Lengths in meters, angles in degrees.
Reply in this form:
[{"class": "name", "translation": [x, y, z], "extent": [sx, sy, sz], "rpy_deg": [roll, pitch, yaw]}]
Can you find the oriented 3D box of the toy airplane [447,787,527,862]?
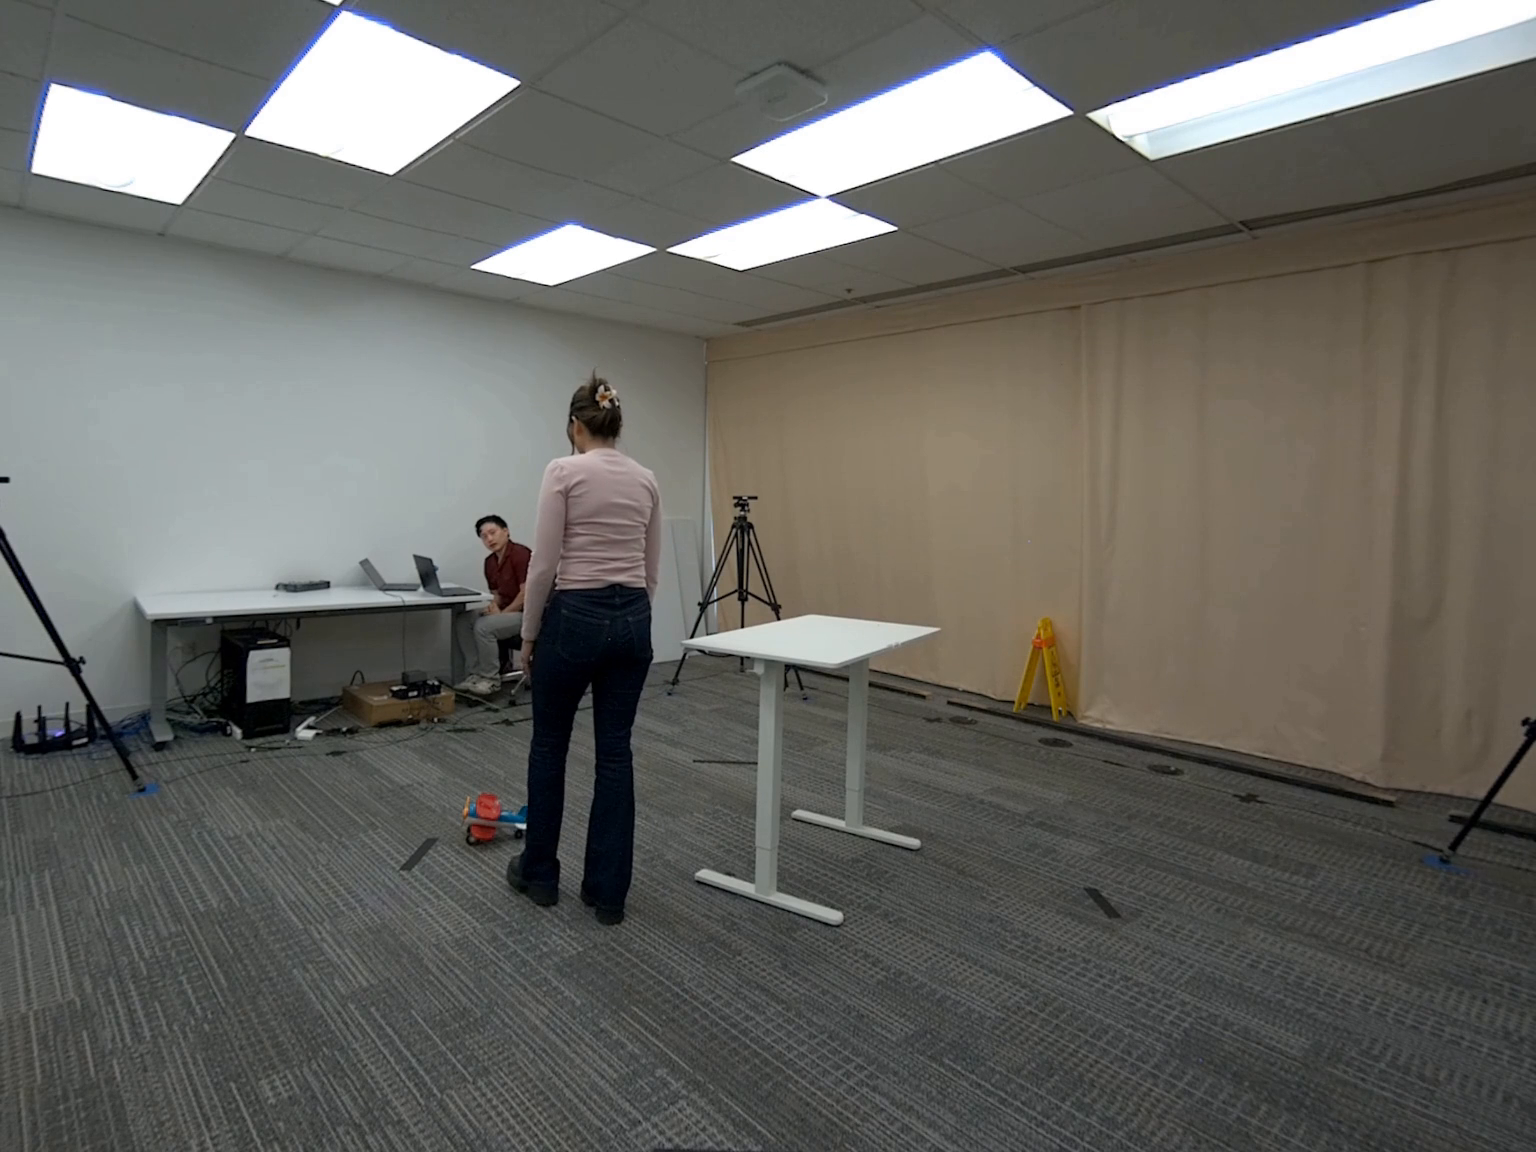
[{"class": "toy airplane", "translation": [-1.106, 0.985, 3.389], "extent": [0.253, 0.156, 0.257], "rpy_deg": [-5, 8, -45]}]
